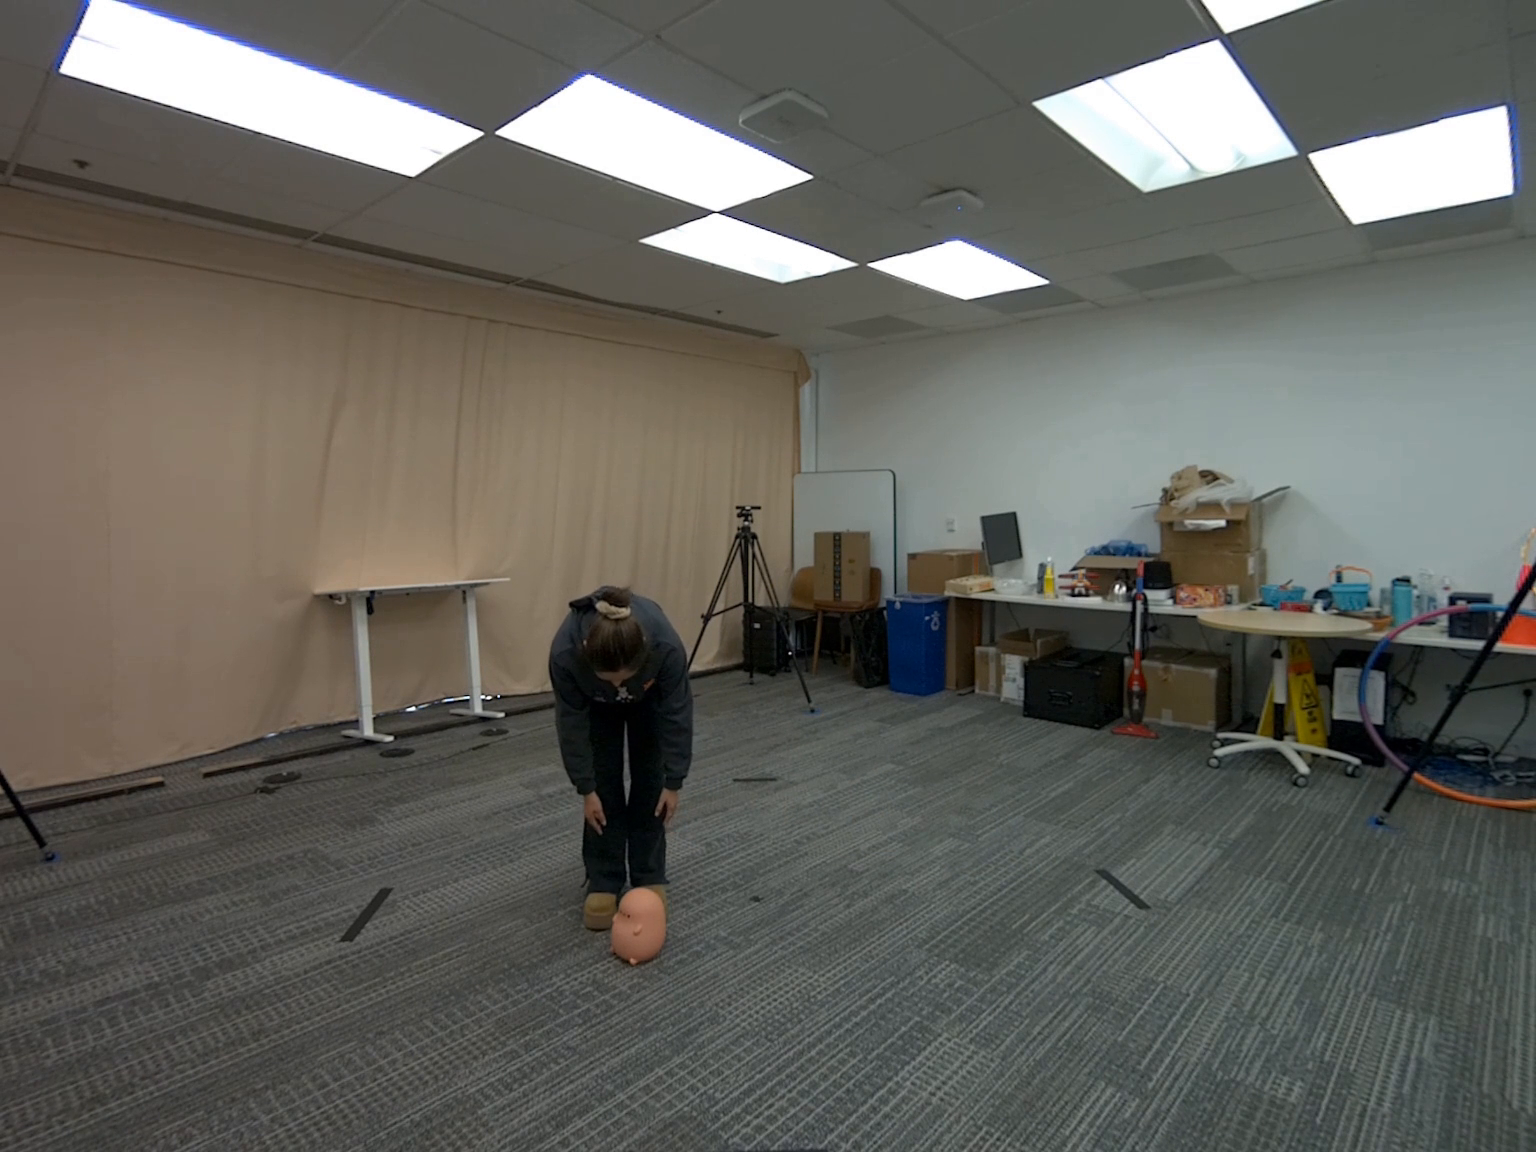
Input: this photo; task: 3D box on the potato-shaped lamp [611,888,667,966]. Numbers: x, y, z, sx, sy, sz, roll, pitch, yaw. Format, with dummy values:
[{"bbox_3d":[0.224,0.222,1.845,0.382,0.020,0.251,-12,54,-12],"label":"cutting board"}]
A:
[{"bbox_3d":[-0.381,1.081,2.622,0.166,0.198,0.170,0,1,-41],"label":"potato-shaped lamp"}]
